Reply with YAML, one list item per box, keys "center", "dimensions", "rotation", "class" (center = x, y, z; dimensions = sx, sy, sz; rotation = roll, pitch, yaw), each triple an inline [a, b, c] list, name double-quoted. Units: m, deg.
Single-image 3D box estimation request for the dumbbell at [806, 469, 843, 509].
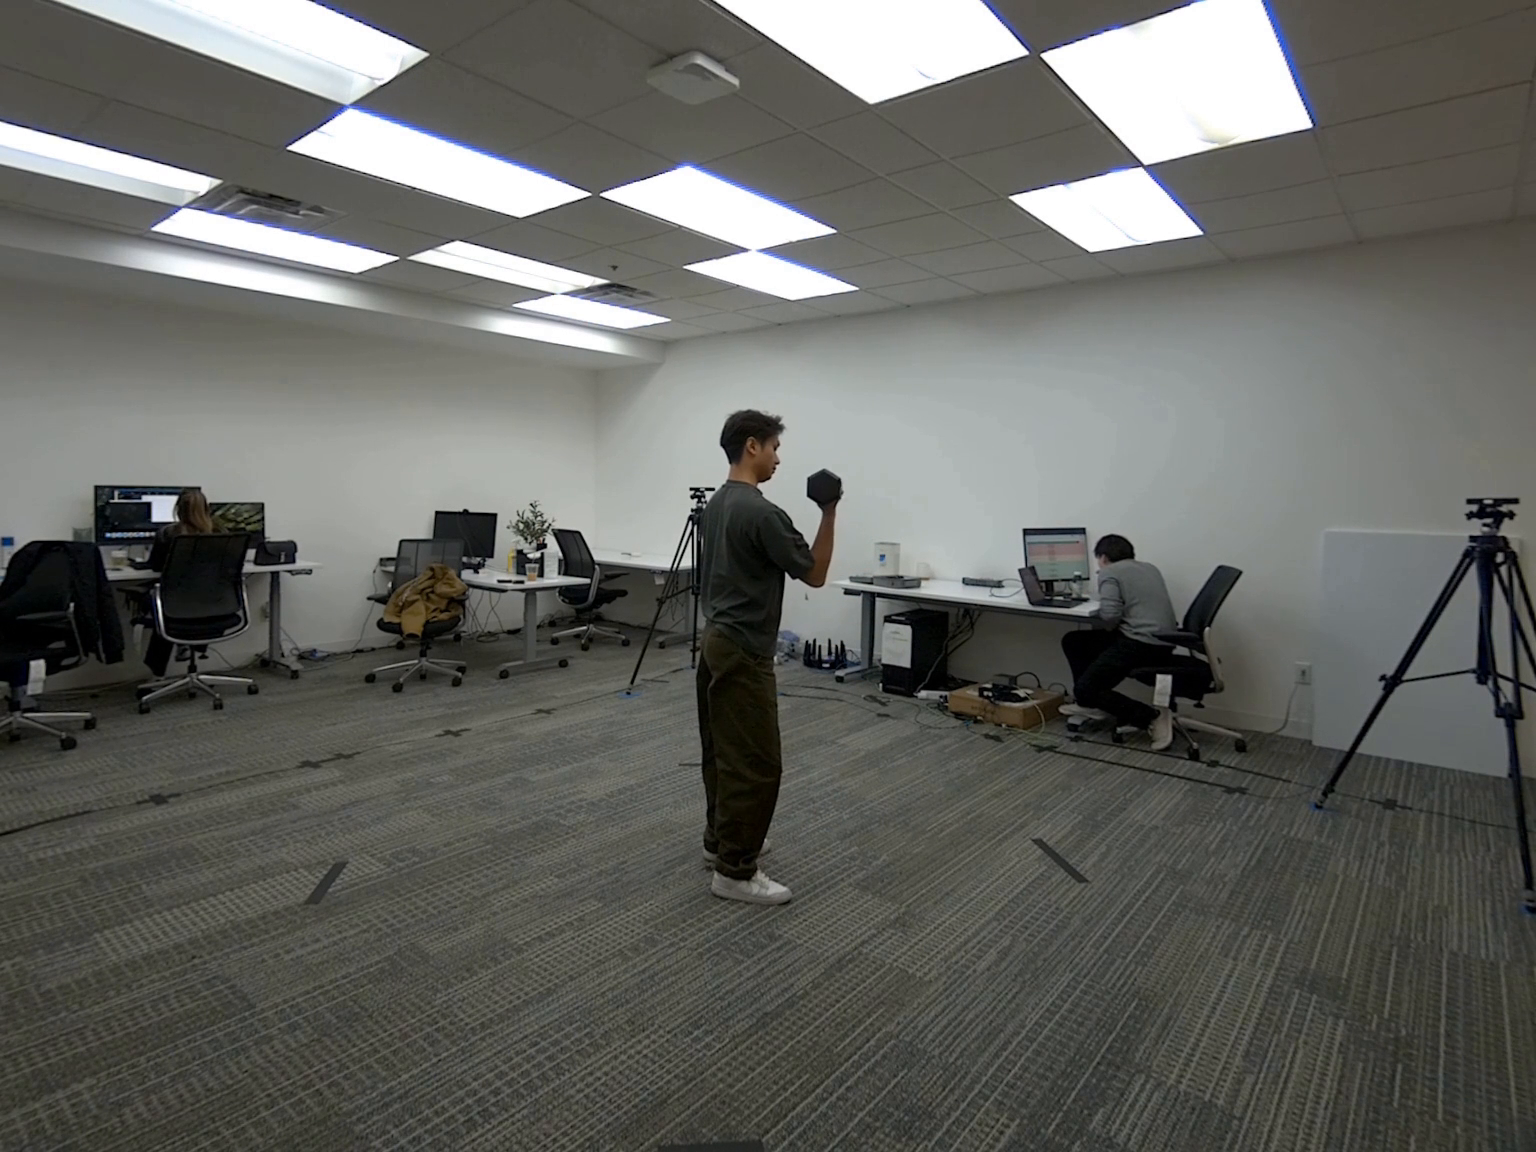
- center: [0.183, -0.296, 2.827]
  dimensions: [0.123, 0.108, 0.293]
  rotation: [32, 7, 1]
  class: "dumbbell"
